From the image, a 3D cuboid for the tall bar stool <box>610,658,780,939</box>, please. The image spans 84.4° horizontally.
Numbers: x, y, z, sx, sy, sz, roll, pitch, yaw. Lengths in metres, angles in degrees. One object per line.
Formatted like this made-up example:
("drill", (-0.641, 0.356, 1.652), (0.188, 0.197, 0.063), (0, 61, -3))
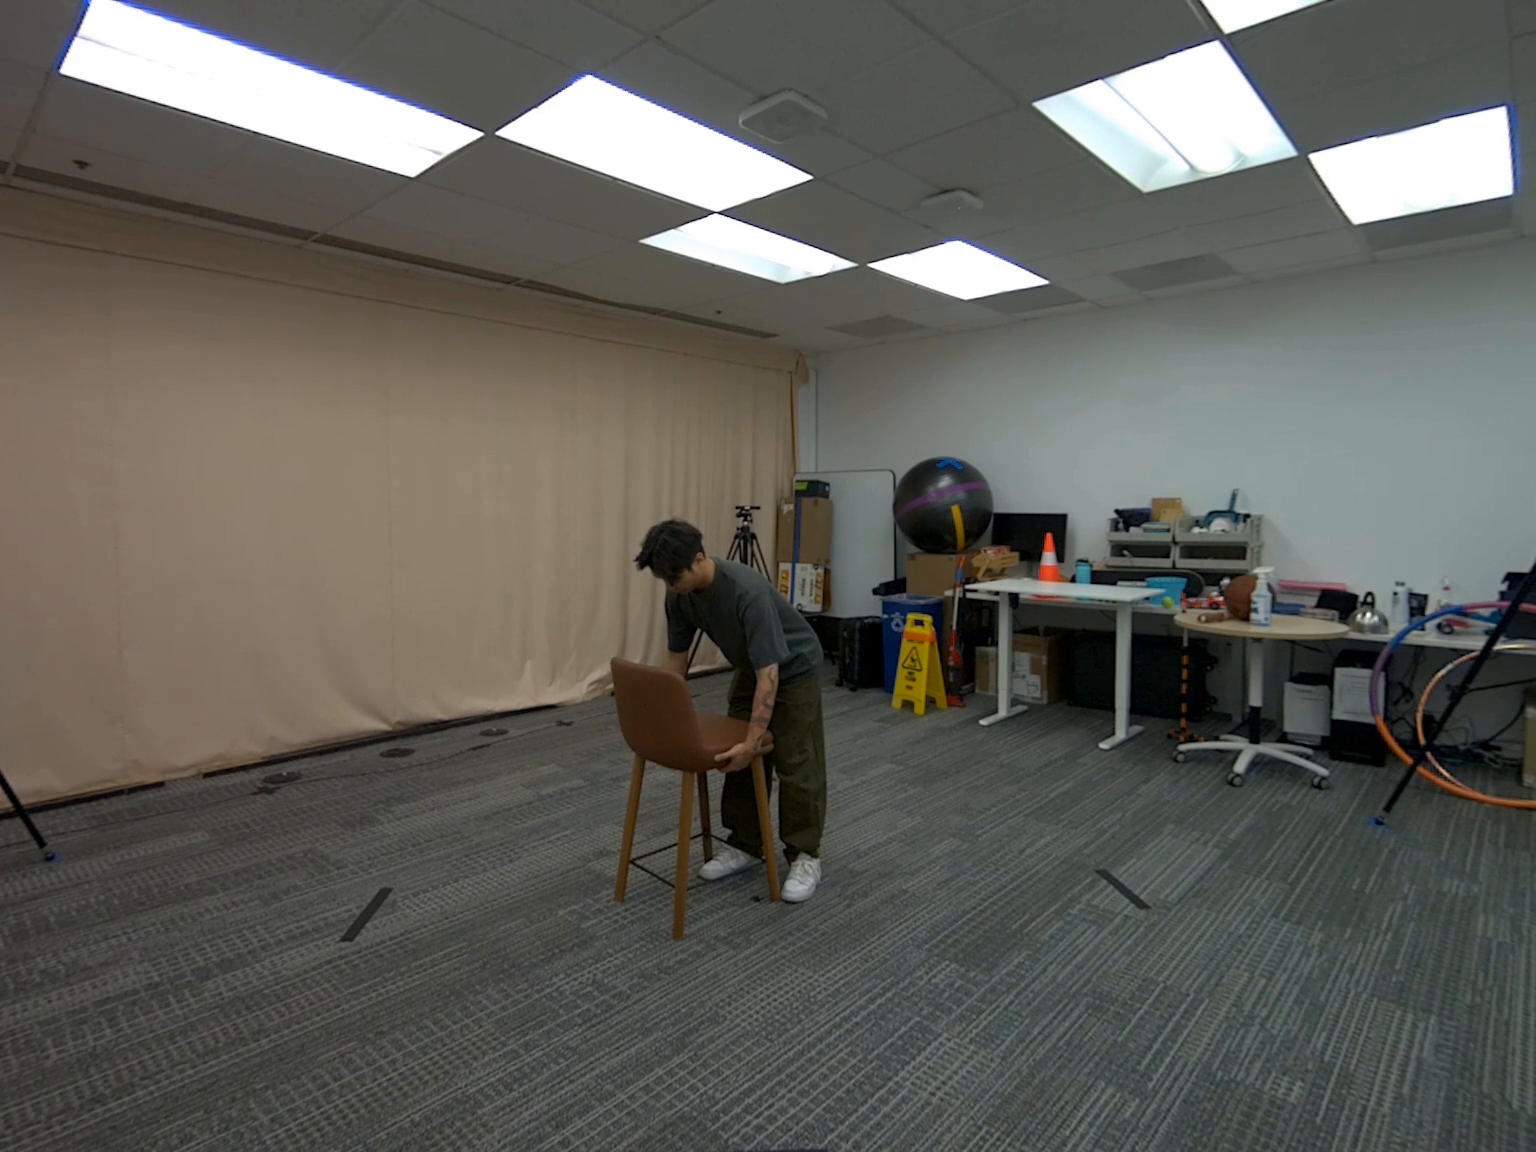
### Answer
("tall bar stool", (-0.261, 0.713, 2.950), (0.454, 0.887, 0.471), (-6, 6, -41))
